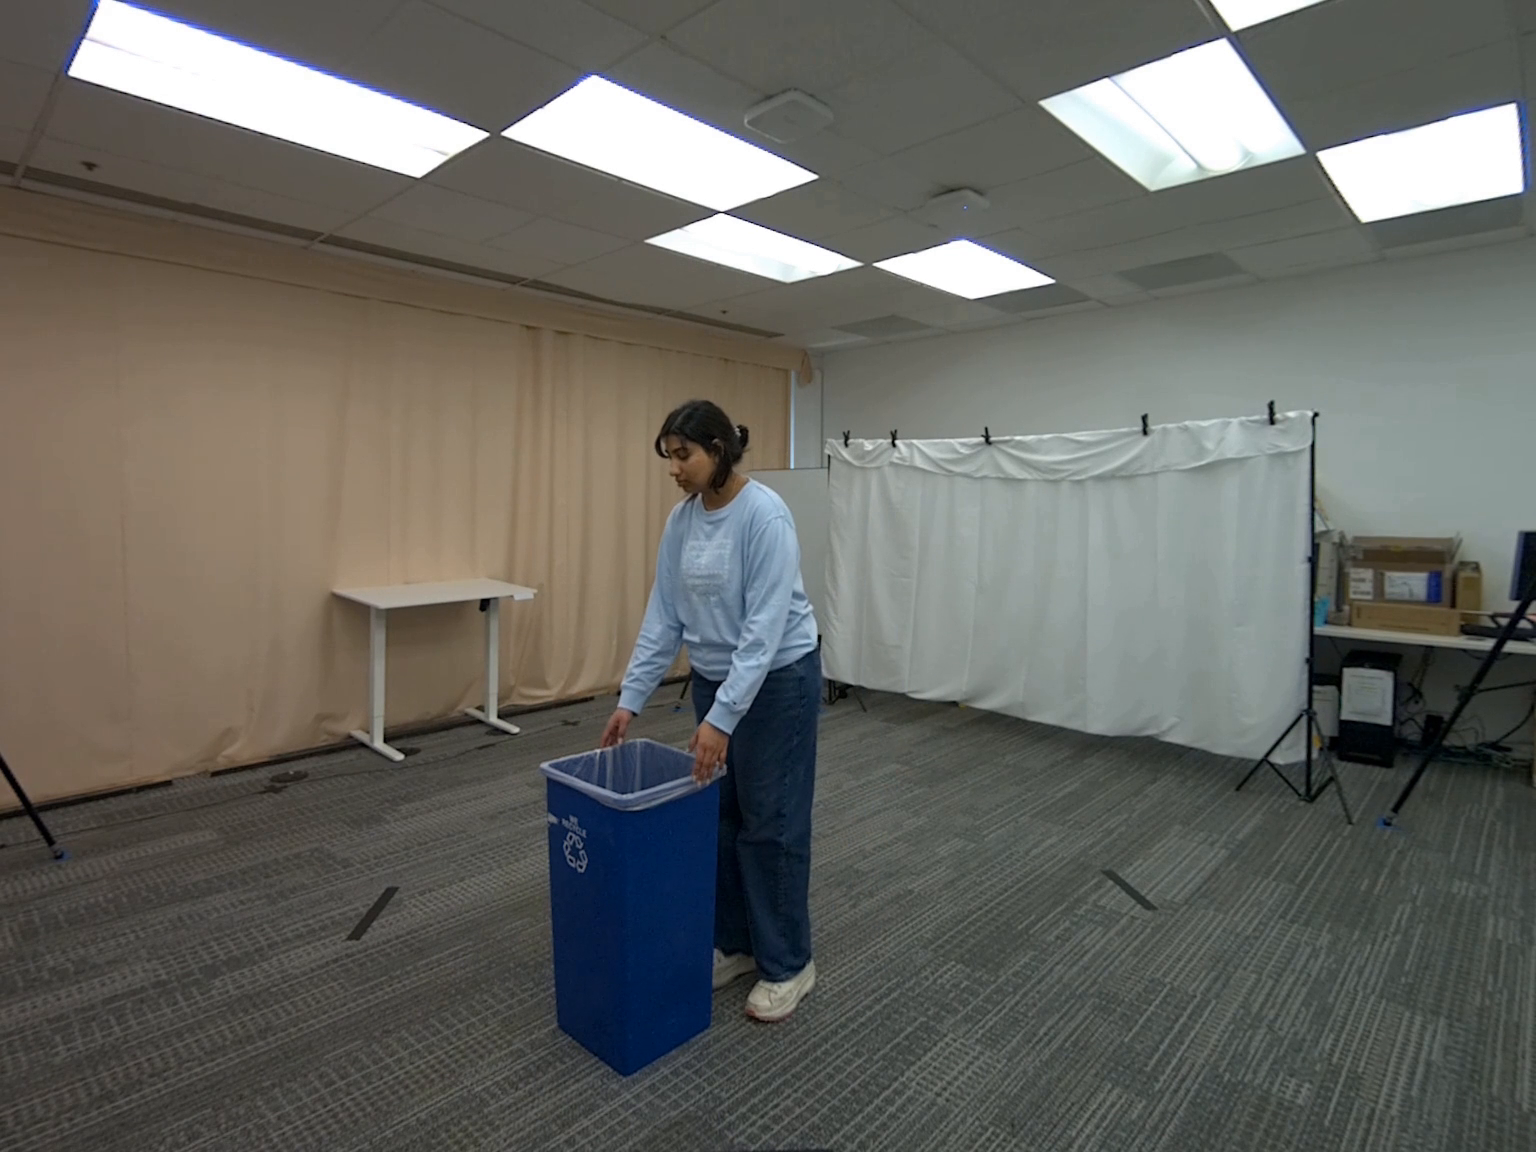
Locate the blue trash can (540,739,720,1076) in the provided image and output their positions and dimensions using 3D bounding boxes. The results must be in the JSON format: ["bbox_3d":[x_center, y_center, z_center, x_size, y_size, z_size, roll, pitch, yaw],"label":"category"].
[{"bbox_3d":[-0.351,0.850,2.234,0.386,0.712,0.366,2,4,43],"label":"blue trash can"}]
